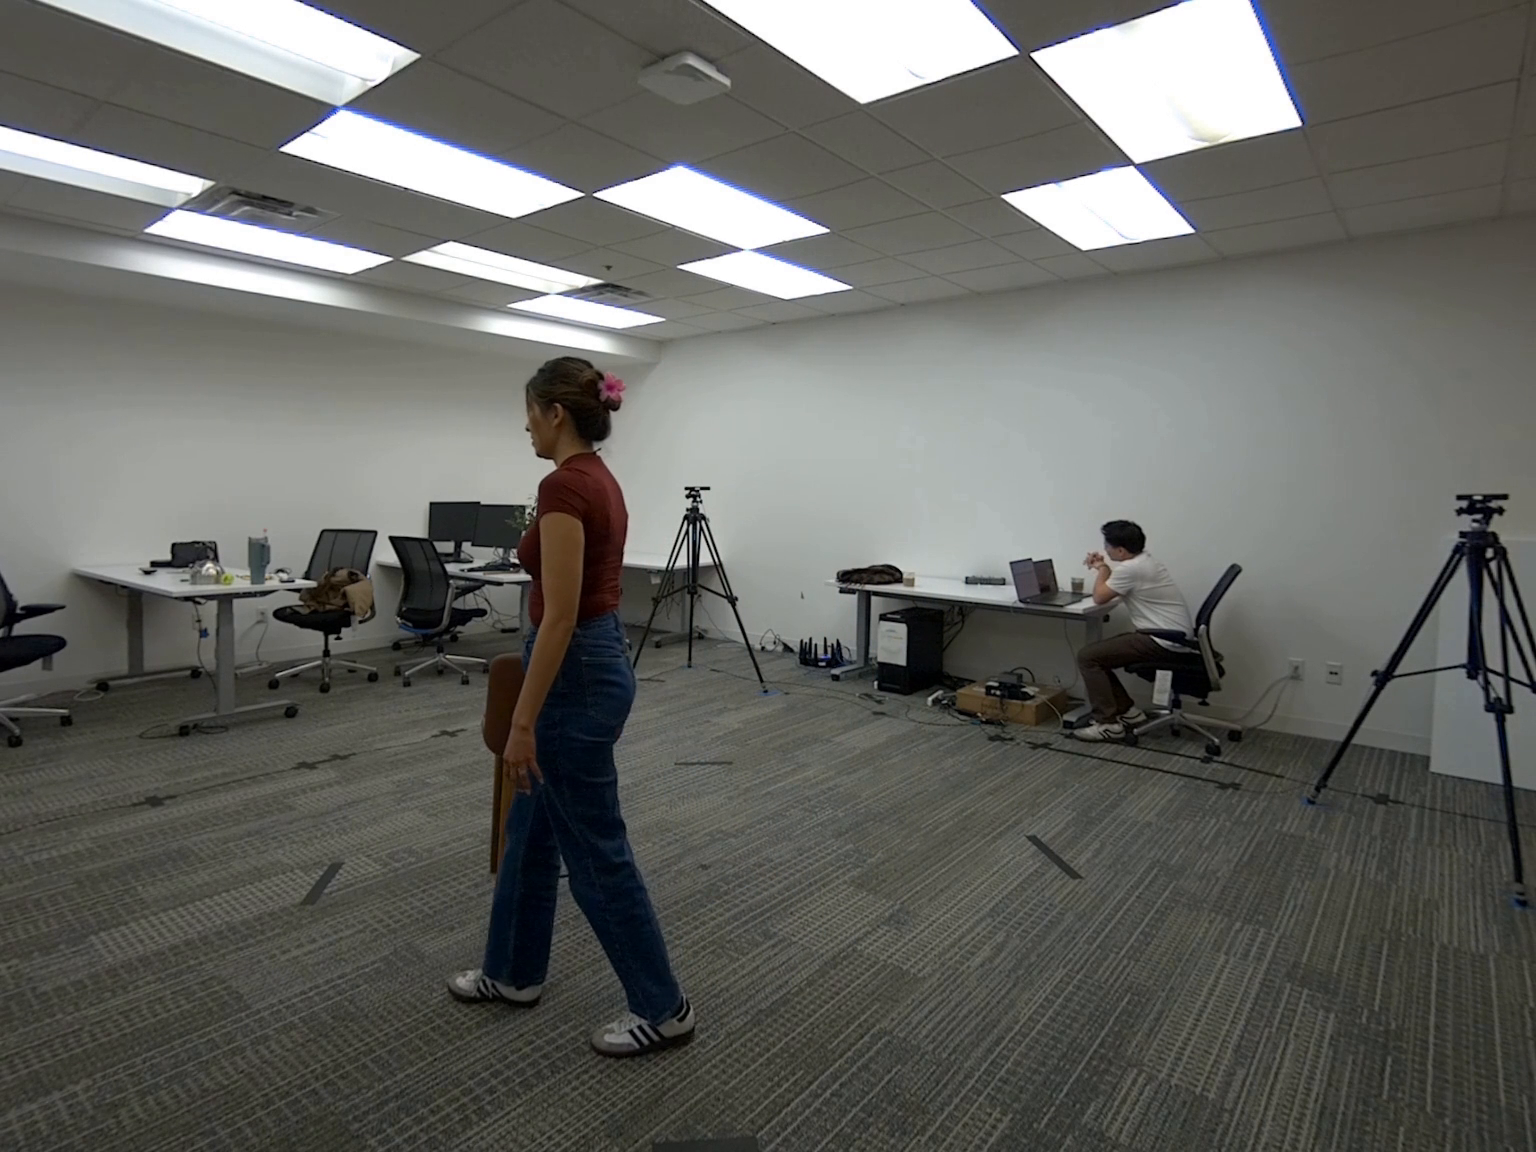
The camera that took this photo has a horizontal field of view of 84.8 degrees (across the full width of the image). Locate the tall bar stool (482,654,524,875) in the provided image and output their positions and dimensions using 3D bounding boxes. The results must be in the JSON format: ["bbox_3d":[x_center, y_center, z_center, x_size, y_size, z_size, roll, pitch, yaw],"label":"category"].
[{"bbox_3d":[-0.740,0.645,2.857,0.449,0.885,0.478,-1,6,-17],"label":"tall bar stool"}]
